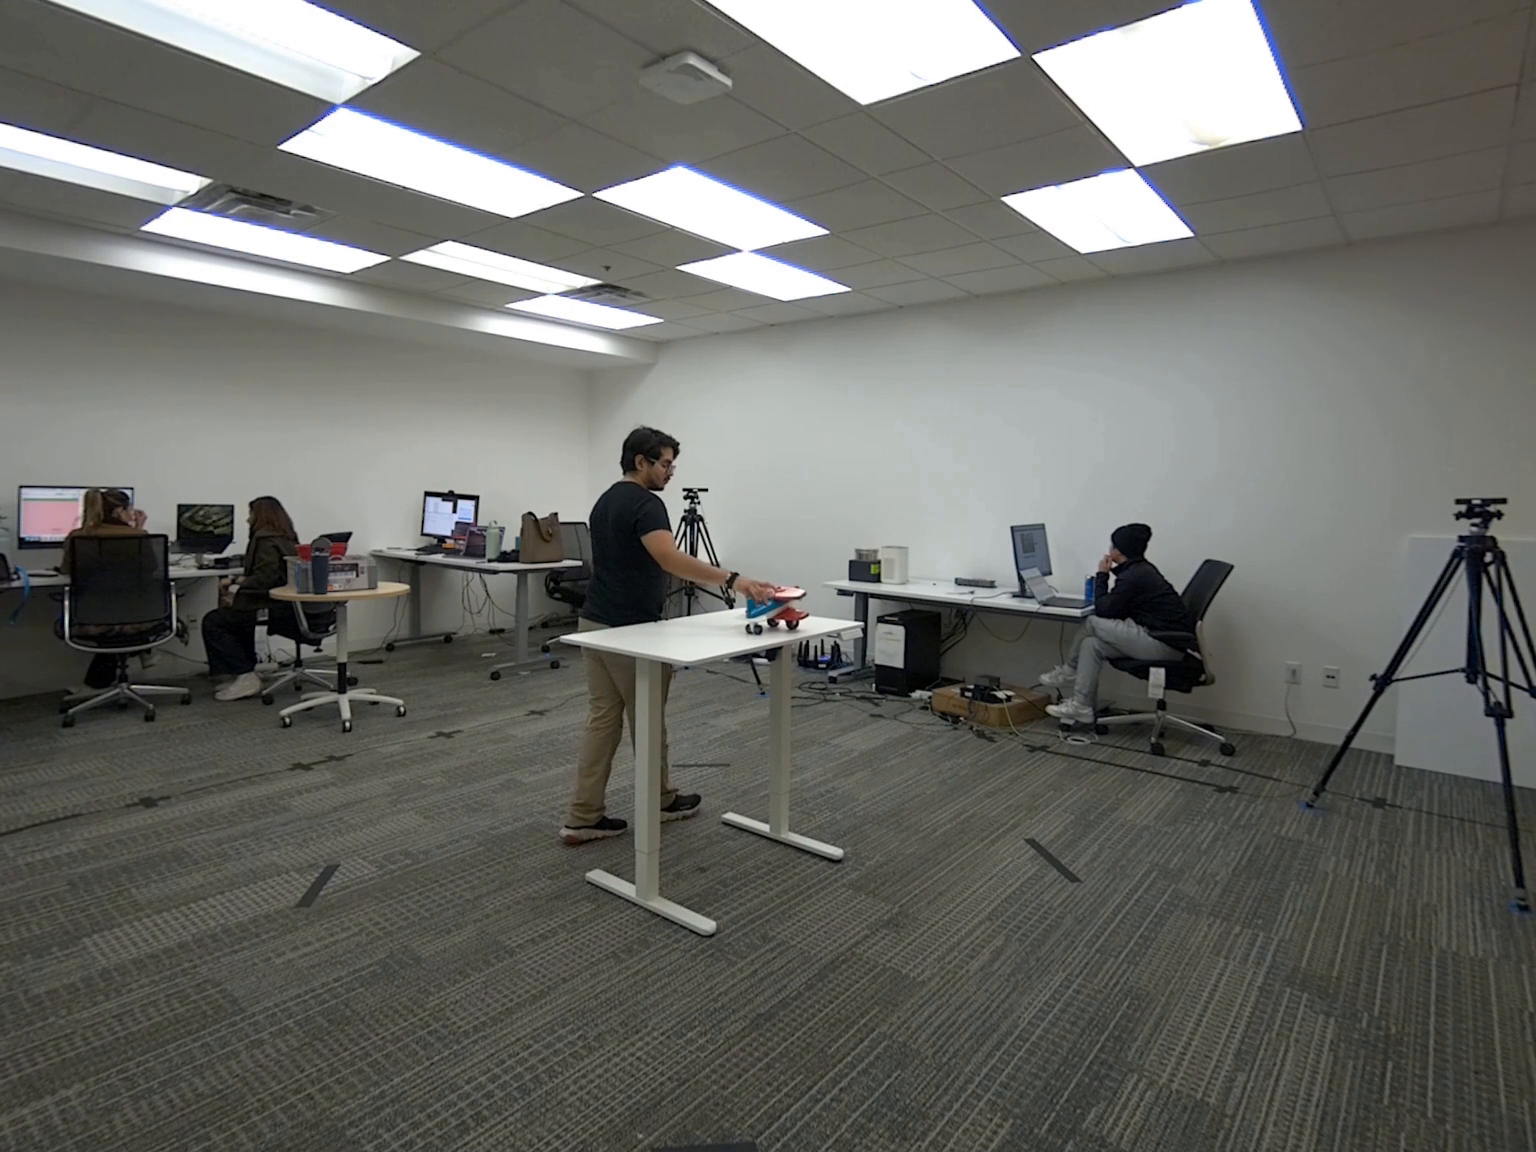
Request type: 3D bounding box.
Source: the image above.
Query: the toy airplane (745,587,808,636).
[{"bbox_3d":[0.015,0.121,3.045,0.254,0.156,0.257,0,3,10],"label":"toy airplane"}]
